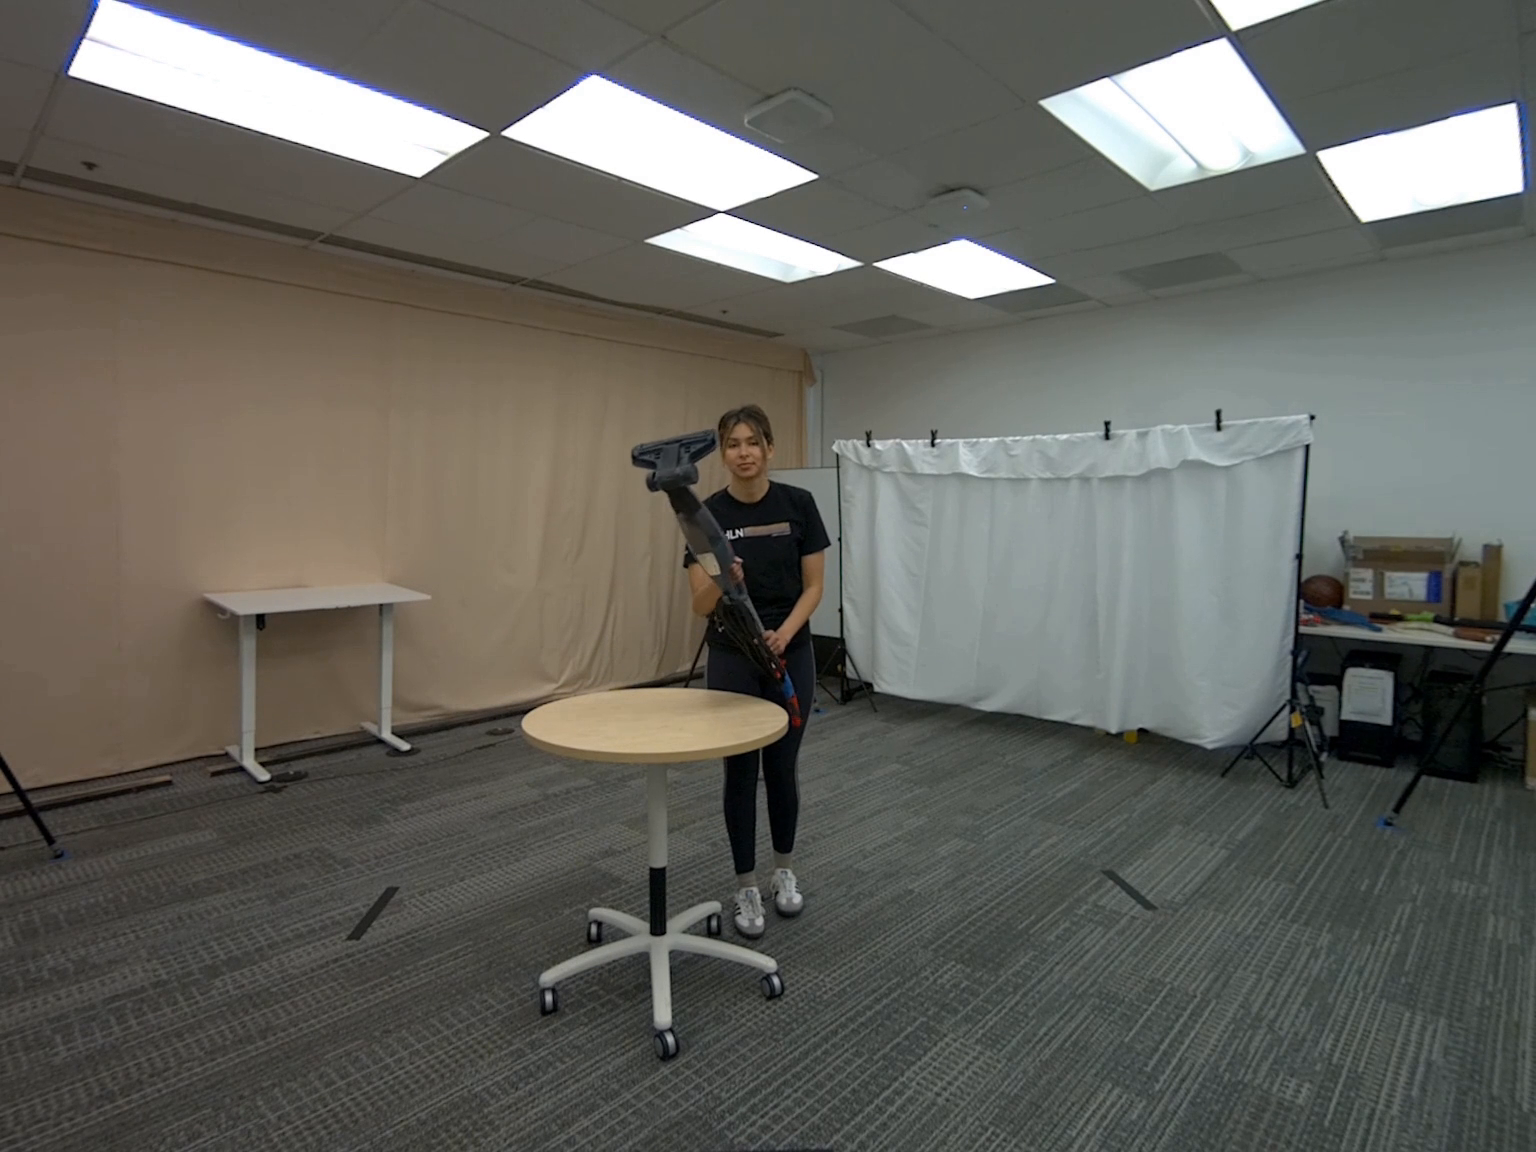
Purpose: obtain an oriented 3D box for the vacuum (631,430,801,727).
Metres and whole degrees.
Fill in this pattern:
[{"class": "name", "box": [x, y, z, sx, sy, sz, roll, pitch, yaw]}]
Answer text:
[{"class": "vacuum", "box": [-0.080, 0.088, 2.456, 0.258, 1.021, 0.145, -7, 36, 24]}]
